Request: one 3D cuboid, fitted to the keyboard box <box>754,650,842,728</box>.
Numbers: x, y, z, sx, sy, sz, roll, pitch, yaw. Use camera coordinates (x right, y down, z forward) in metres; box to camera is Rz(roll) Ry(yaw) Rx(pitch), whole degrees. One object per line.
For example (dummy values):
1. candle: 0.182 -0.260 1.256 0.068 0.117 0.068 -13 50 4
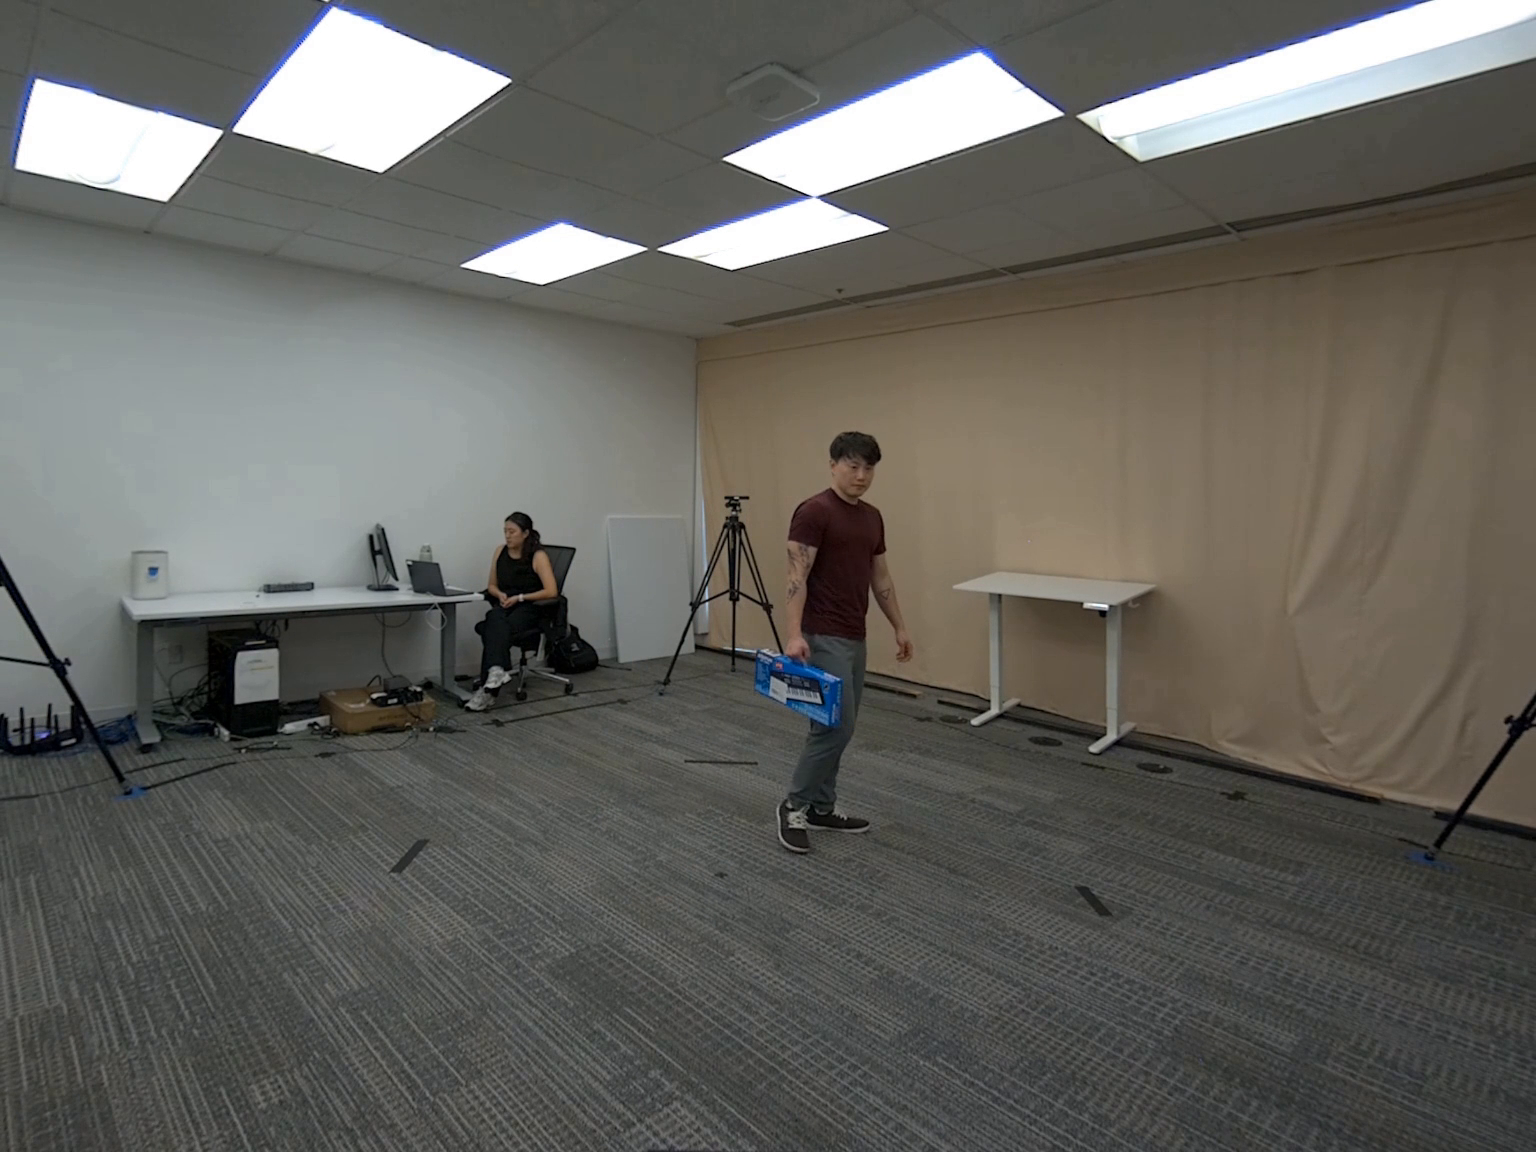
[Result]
1. keyboard box: 0.103 0.428 3.258 0.058 0.175 0.449 -5 14 -38
